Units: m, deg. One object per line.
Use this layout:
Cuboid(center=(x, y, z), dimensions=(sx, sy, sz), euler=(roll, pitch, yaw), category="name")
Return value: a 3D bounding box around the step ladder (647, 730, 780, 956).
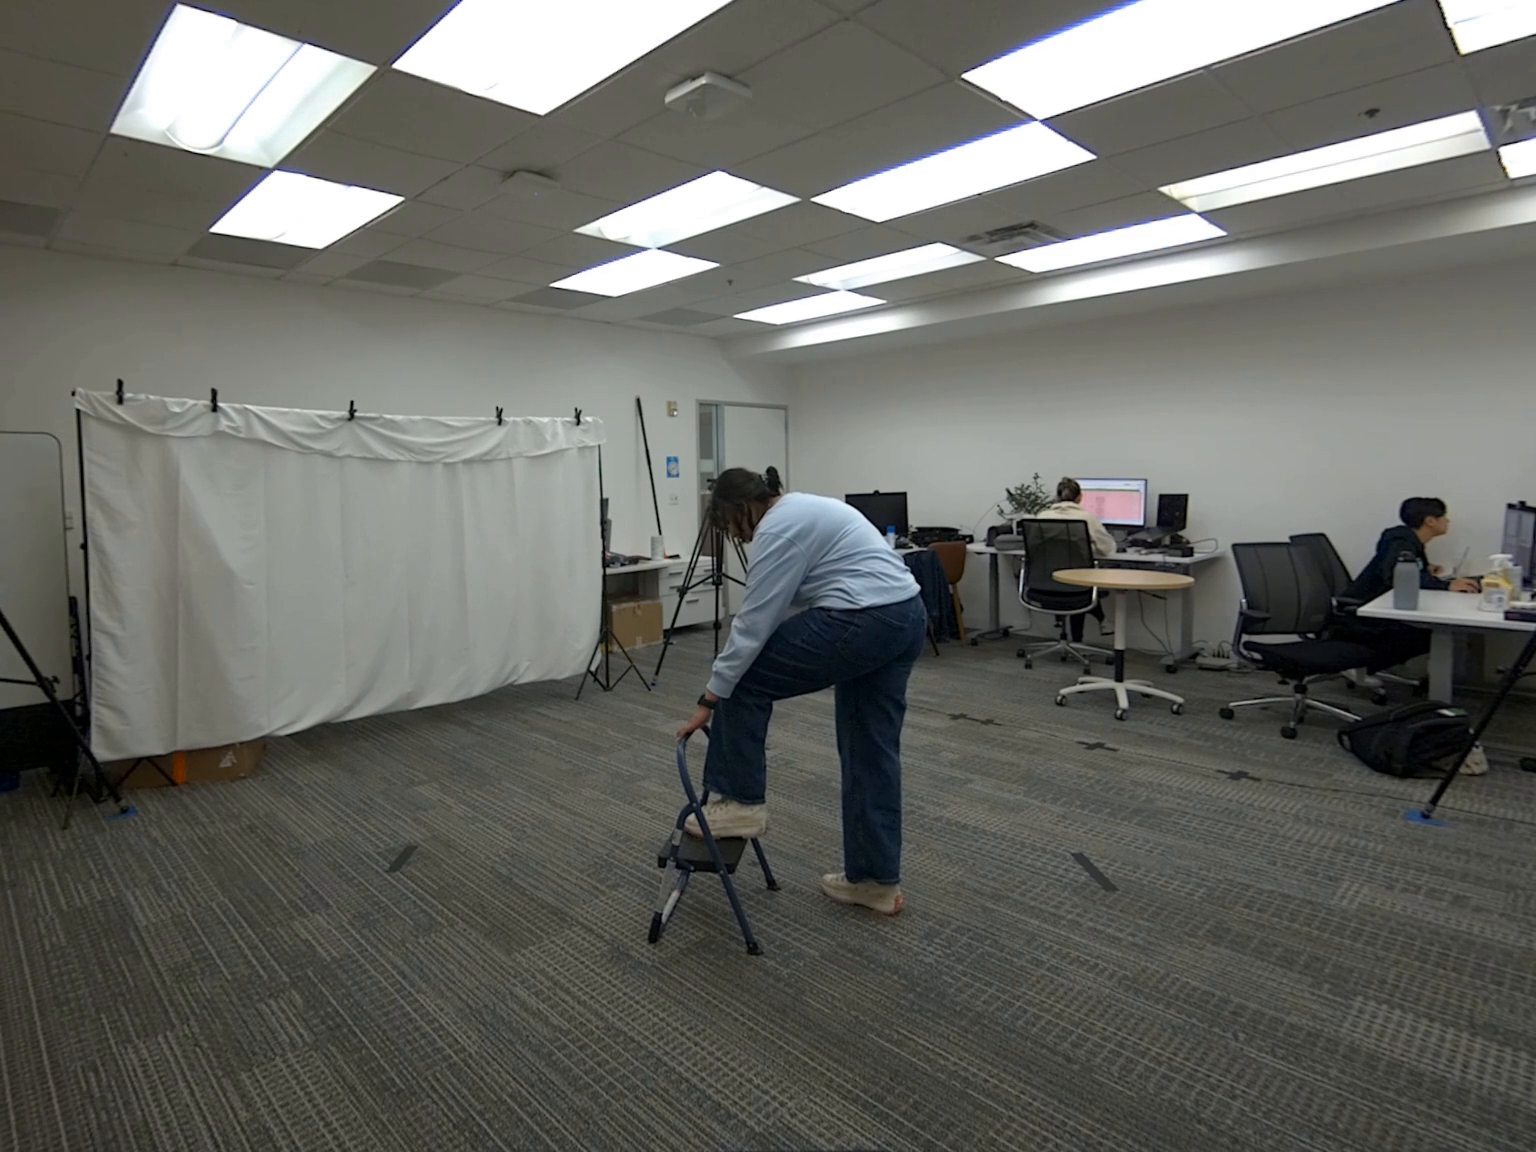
Cuboid(center=(-0.163, 0.791, 2.729), dimensions=(0.353, 0.604, 0.428), euler=(0, 5, 10), category="step ladder")
